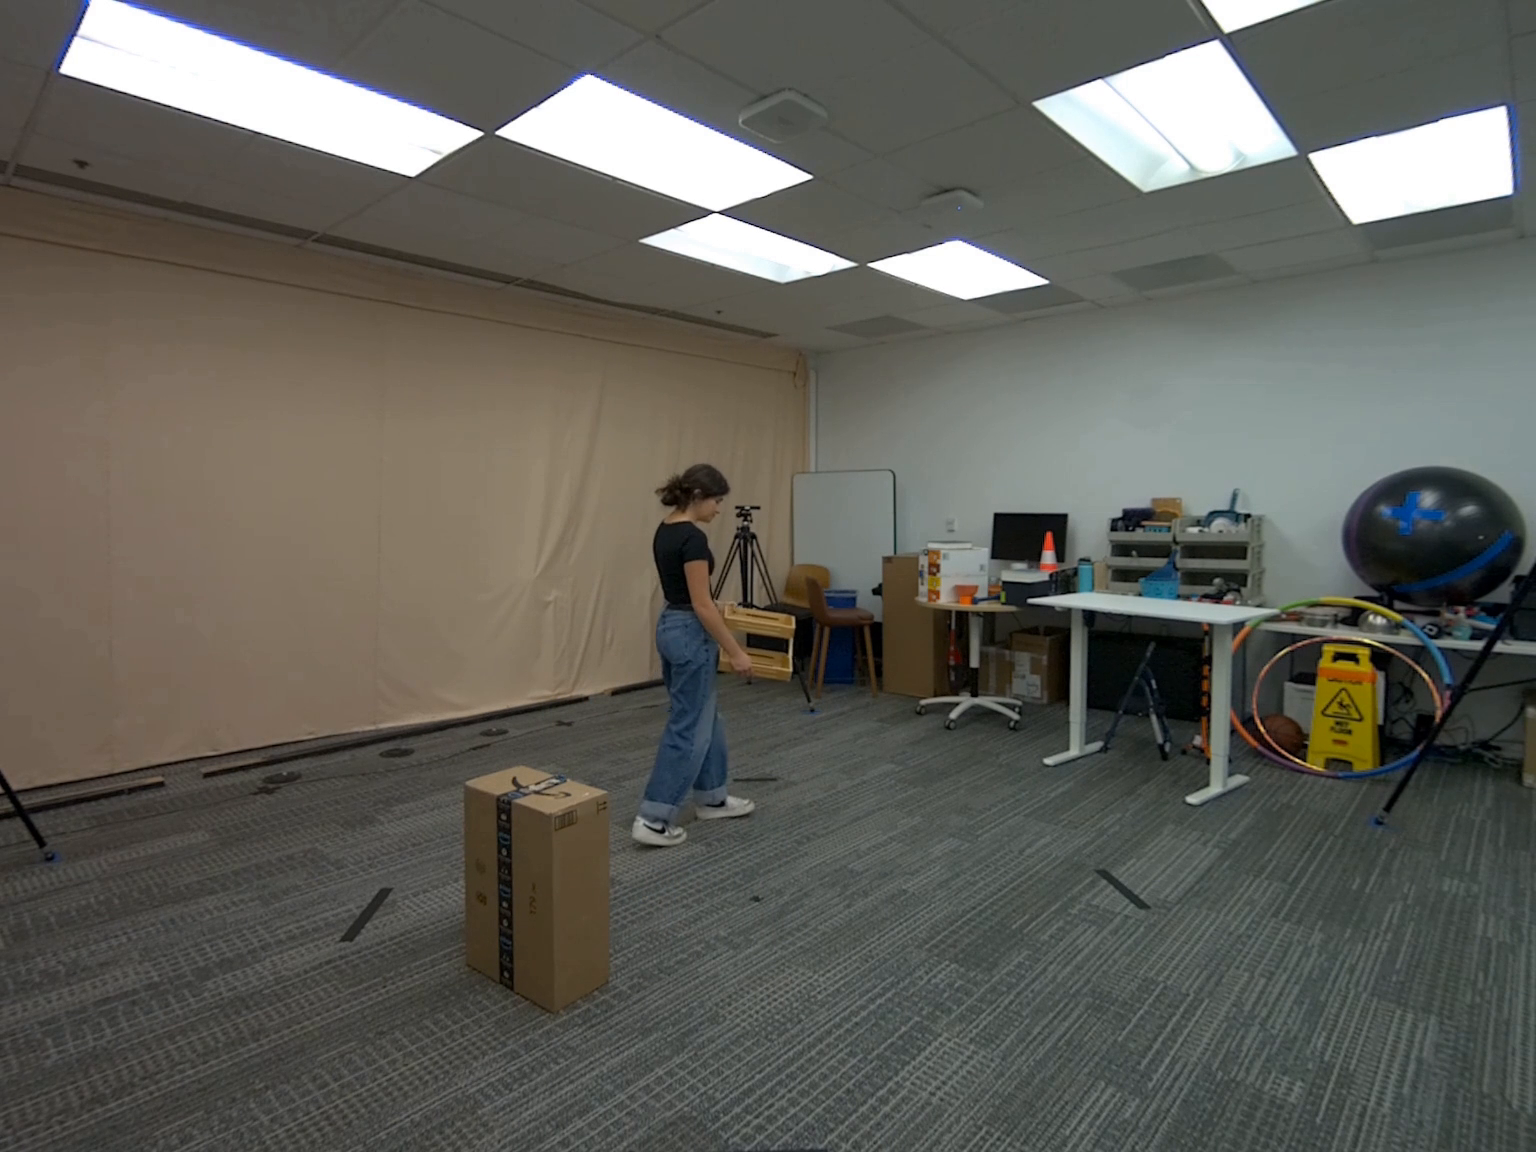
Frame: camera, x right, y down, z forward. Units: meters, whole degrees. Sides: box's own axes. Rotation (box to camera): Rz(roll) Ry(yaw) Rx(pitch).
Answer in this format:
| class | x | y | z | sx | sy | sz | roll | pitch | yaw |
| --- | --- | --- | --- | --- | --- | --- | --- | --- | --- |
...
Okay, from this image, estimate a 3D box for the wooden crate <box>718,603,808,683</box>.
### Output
| class | x | y | z | sx | sy | sz | roll | pitch | yaw |
| --- | --- | --- | --- | --- | --- | --- | --- | --- | --- |
| wooden crate | -0.043 | 0.274 | 3.572 | 0.322 | 0.274 | 0.304 | 8 | -3 | -7 |
